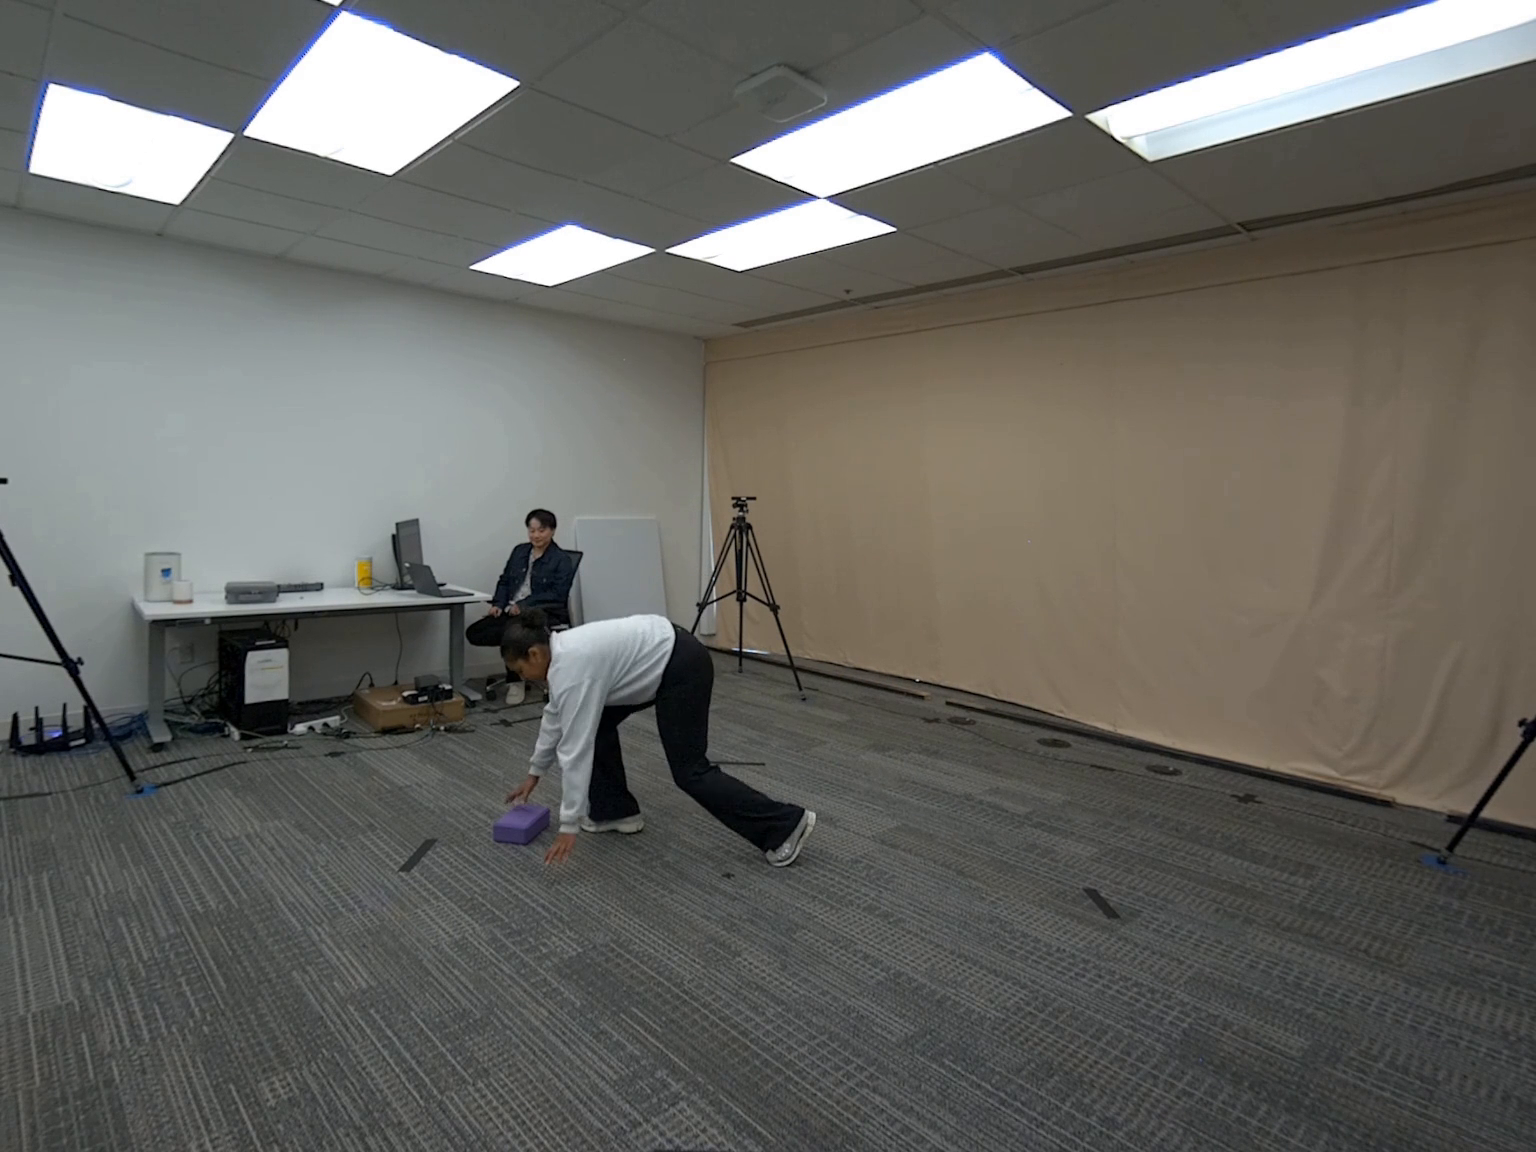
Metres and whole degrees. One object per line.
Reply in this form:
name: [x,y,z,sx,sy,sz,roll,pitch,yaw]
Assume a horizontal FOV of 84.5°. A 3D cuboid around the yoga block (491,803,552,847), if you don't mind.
yoga block: [-1.008,1.010,3.450,0.150,0.076,0.228,3,5,11]
